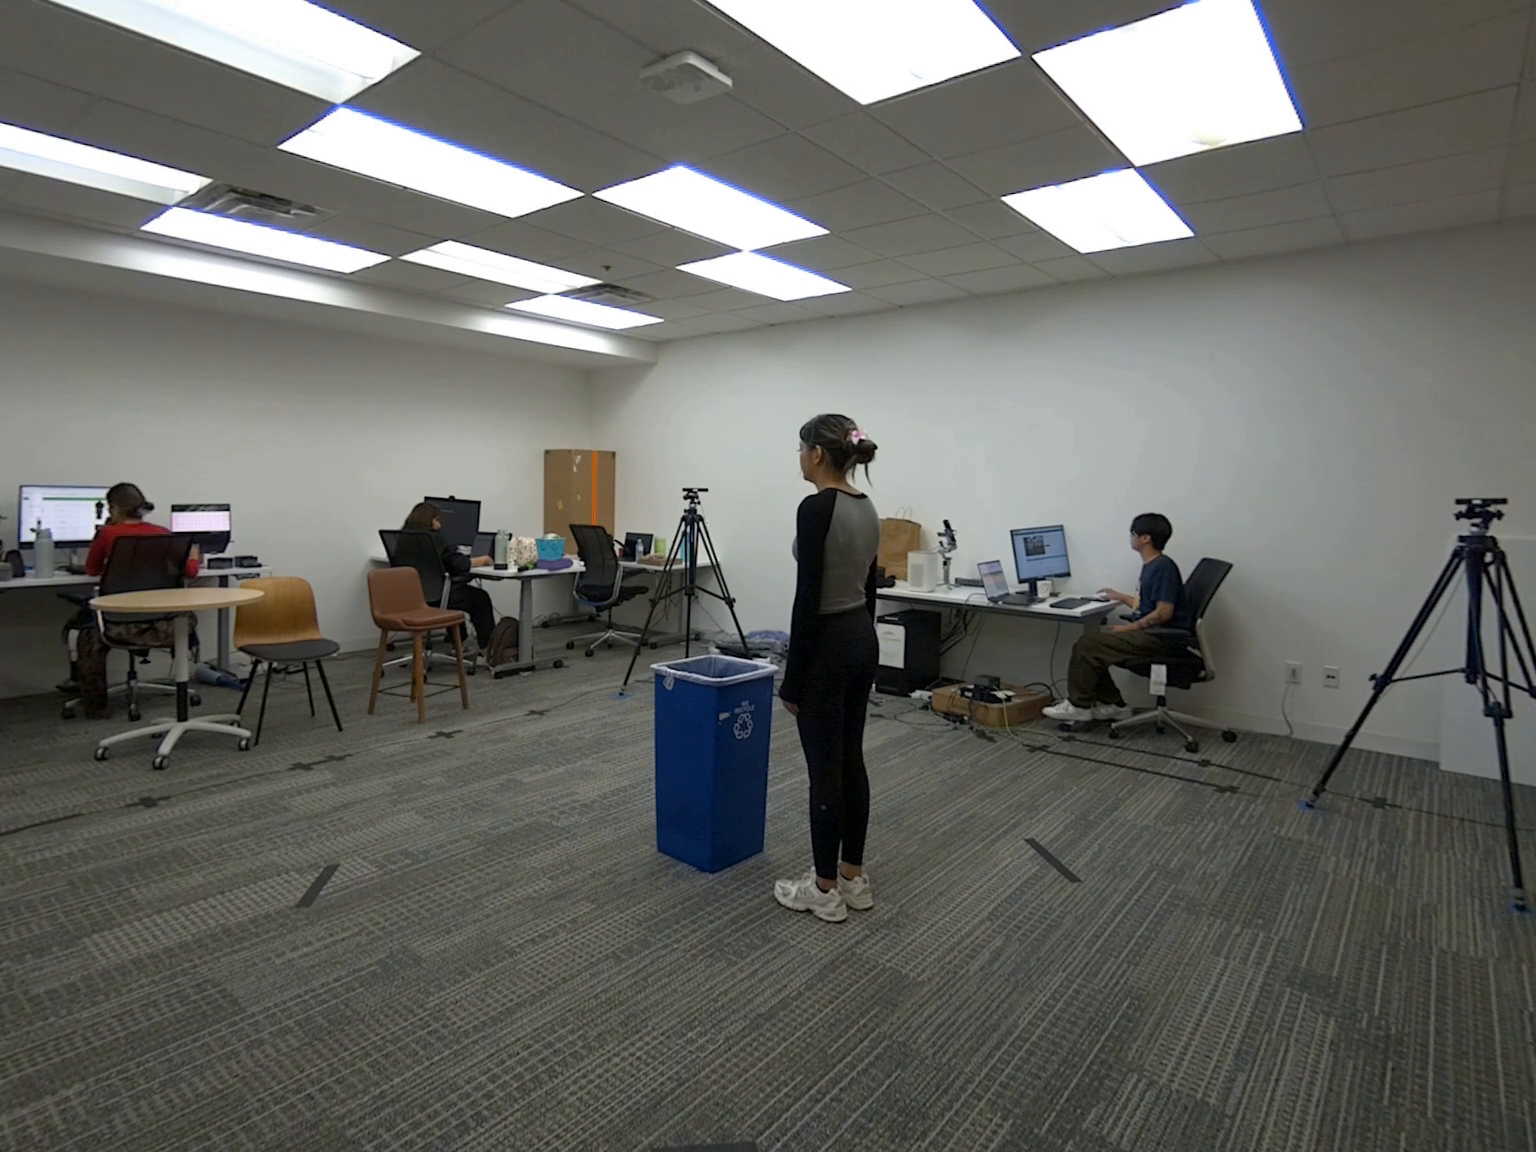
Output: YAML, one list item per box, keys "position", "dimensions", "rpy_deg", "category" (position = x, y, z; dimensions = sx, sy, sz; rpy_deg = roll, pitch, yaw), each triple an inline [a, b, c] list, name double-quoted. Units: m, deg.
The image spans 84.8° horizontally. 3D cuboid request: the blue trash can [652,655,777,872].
- position: [-0.222, 0.695, 3.267]
  dimensions: [0.391, 0.711, 0.363]
  rpy_deg: [4, 4, 41]
  category: "blue trash can"
